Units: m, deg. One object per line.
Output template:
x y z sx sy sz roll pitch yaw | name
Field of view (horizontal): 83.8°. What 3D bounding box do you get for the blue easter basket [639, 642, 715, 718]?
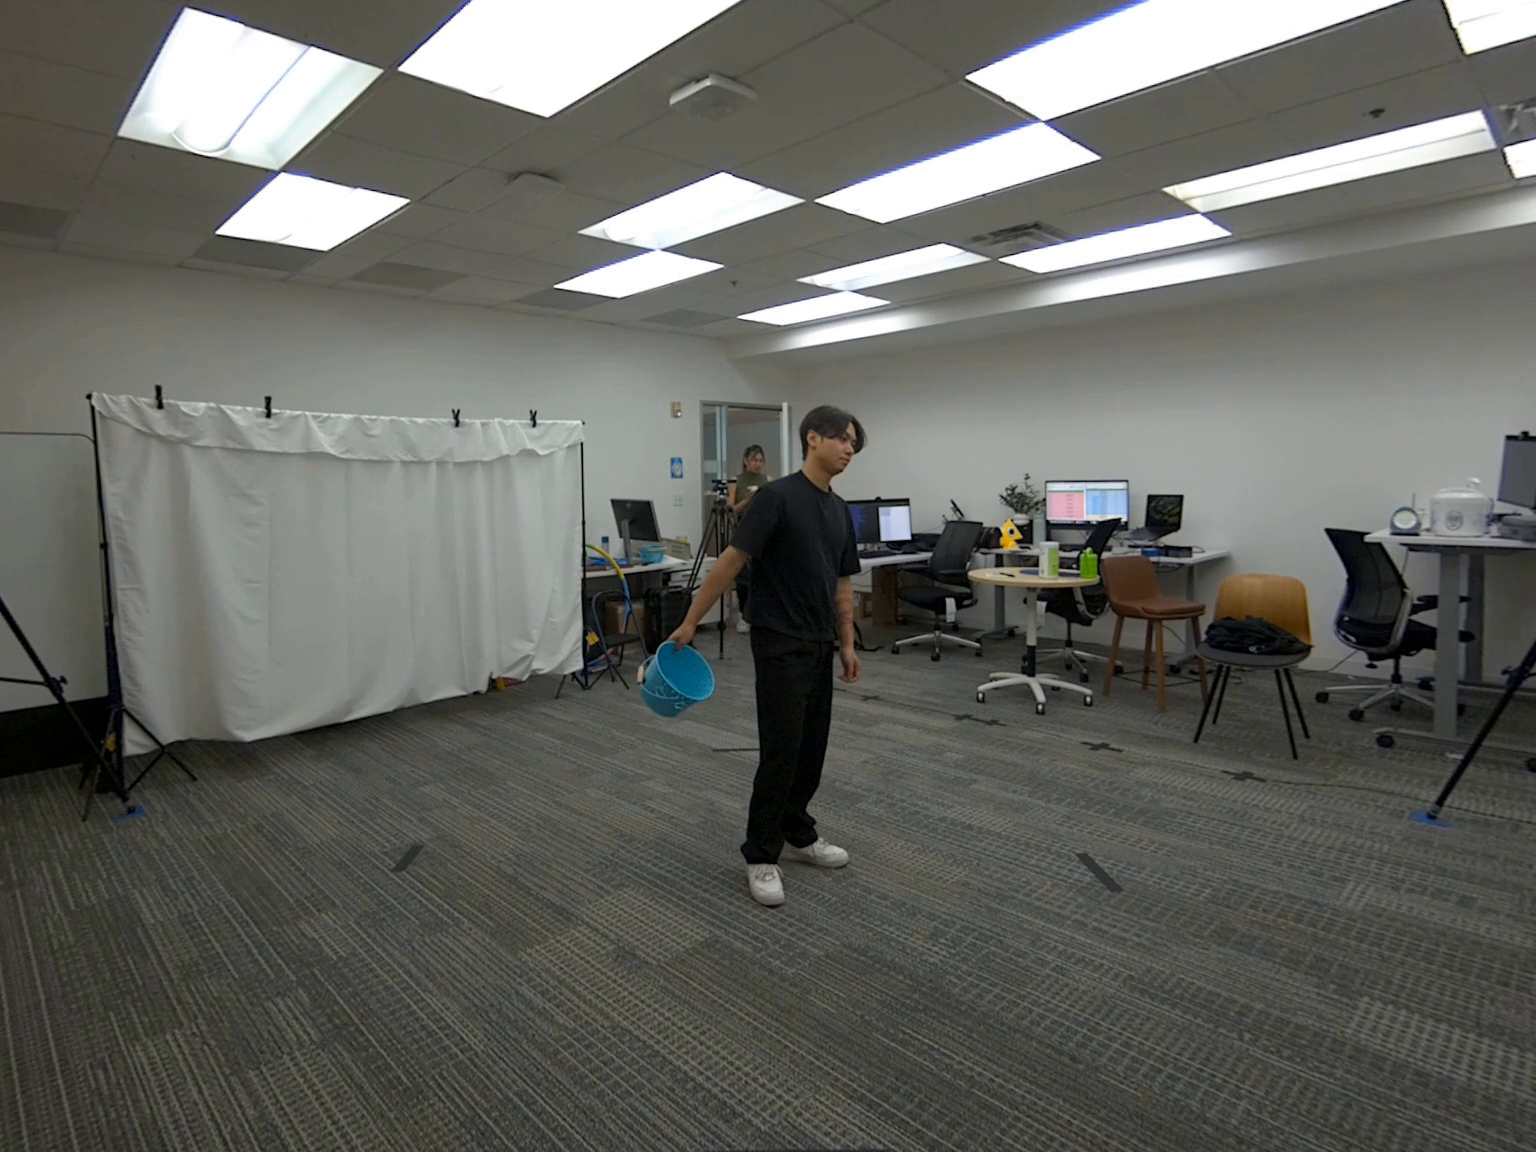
-0.307 0.357 2.876 0.237 0.250 0.156 -7 -34 -52 | blue easter basket
